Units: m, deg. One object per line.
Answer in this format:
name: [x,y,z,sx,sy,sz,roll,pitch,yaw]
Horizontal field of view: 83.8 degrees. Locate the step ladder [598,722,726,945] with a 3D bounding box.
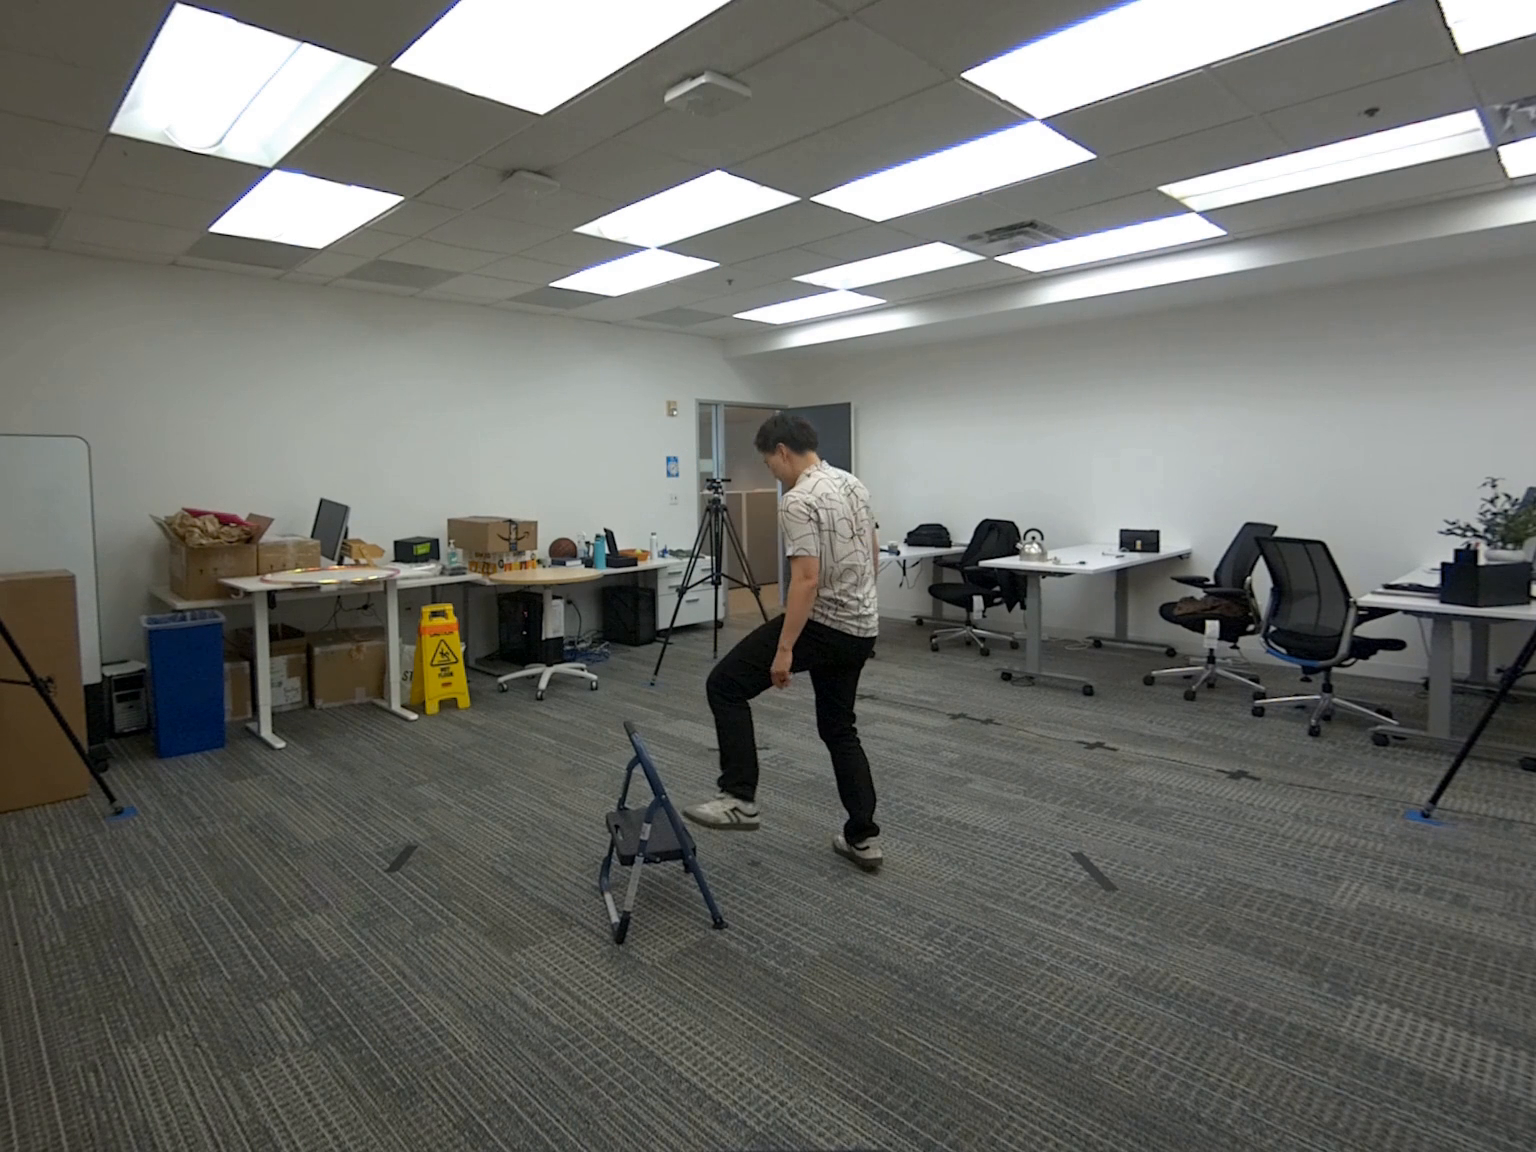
step ladder: [-0.363,0.783,2.797,0.344,0.604,0.439,-3,5,-18]
